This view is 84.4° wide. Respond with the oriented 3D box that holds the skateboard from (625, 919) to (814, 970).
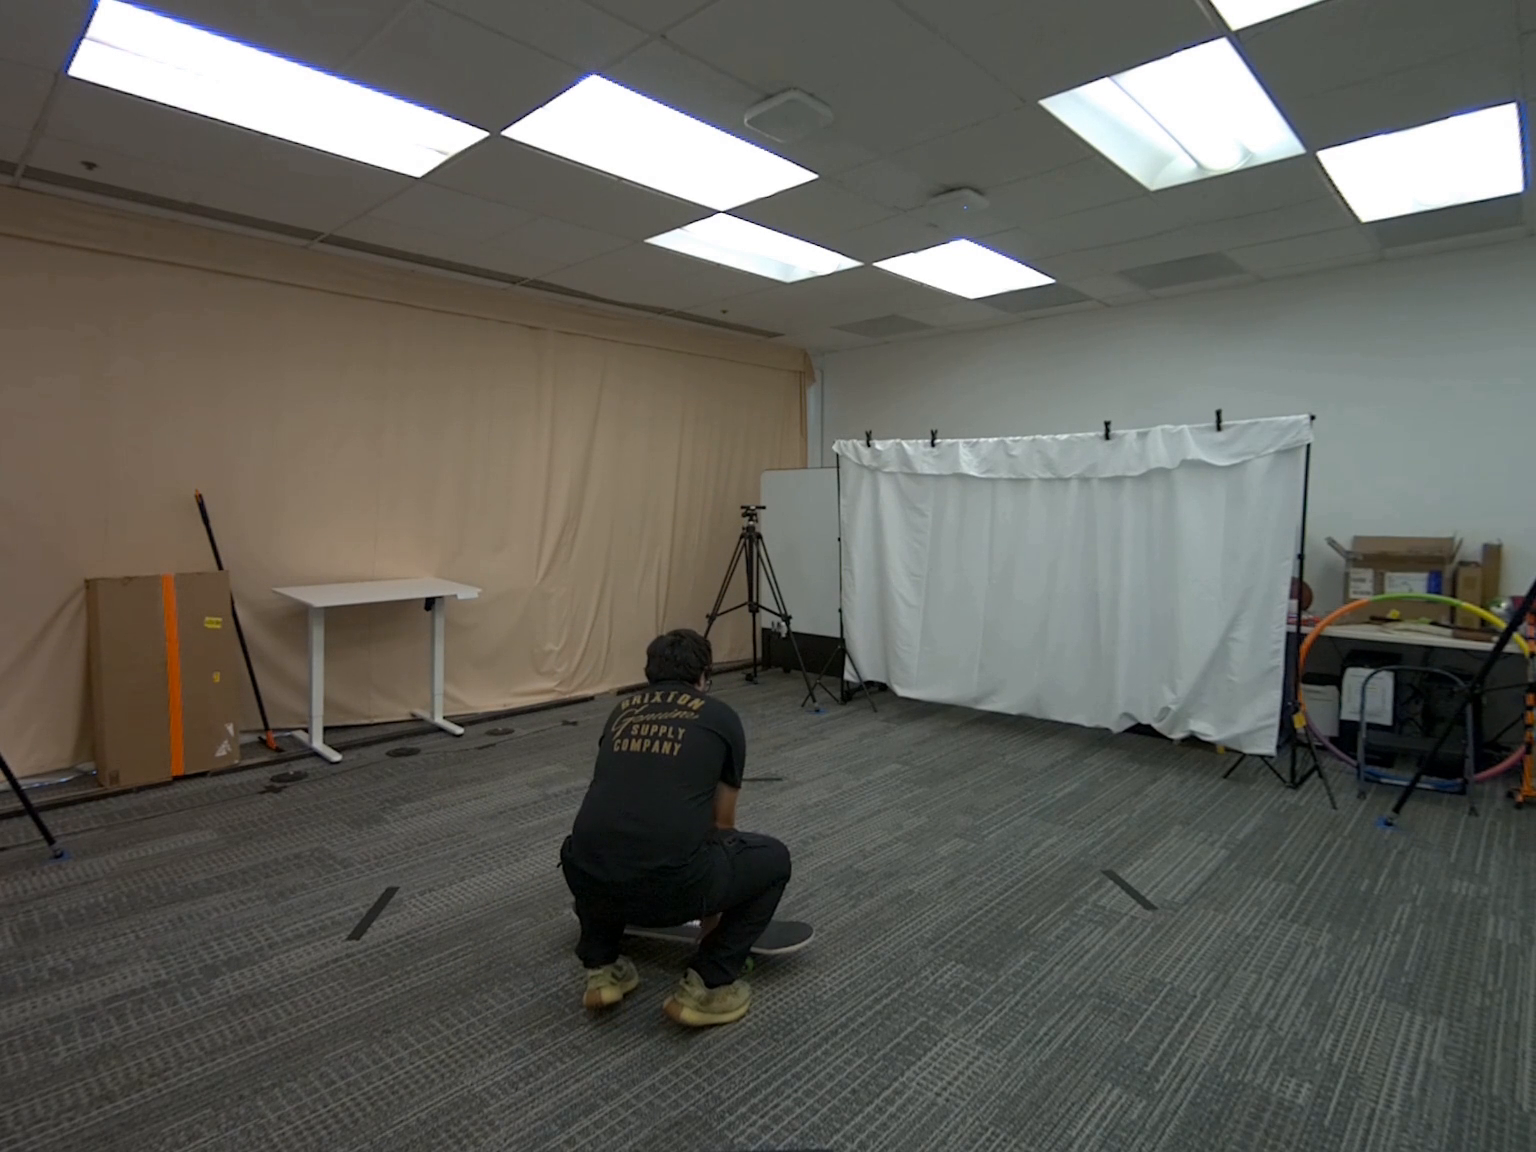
[{"bbox_3d":[-0.237,1.116,2.643,0.798,0.110,0.191,0,5,15],"label":"skateboard"}]
